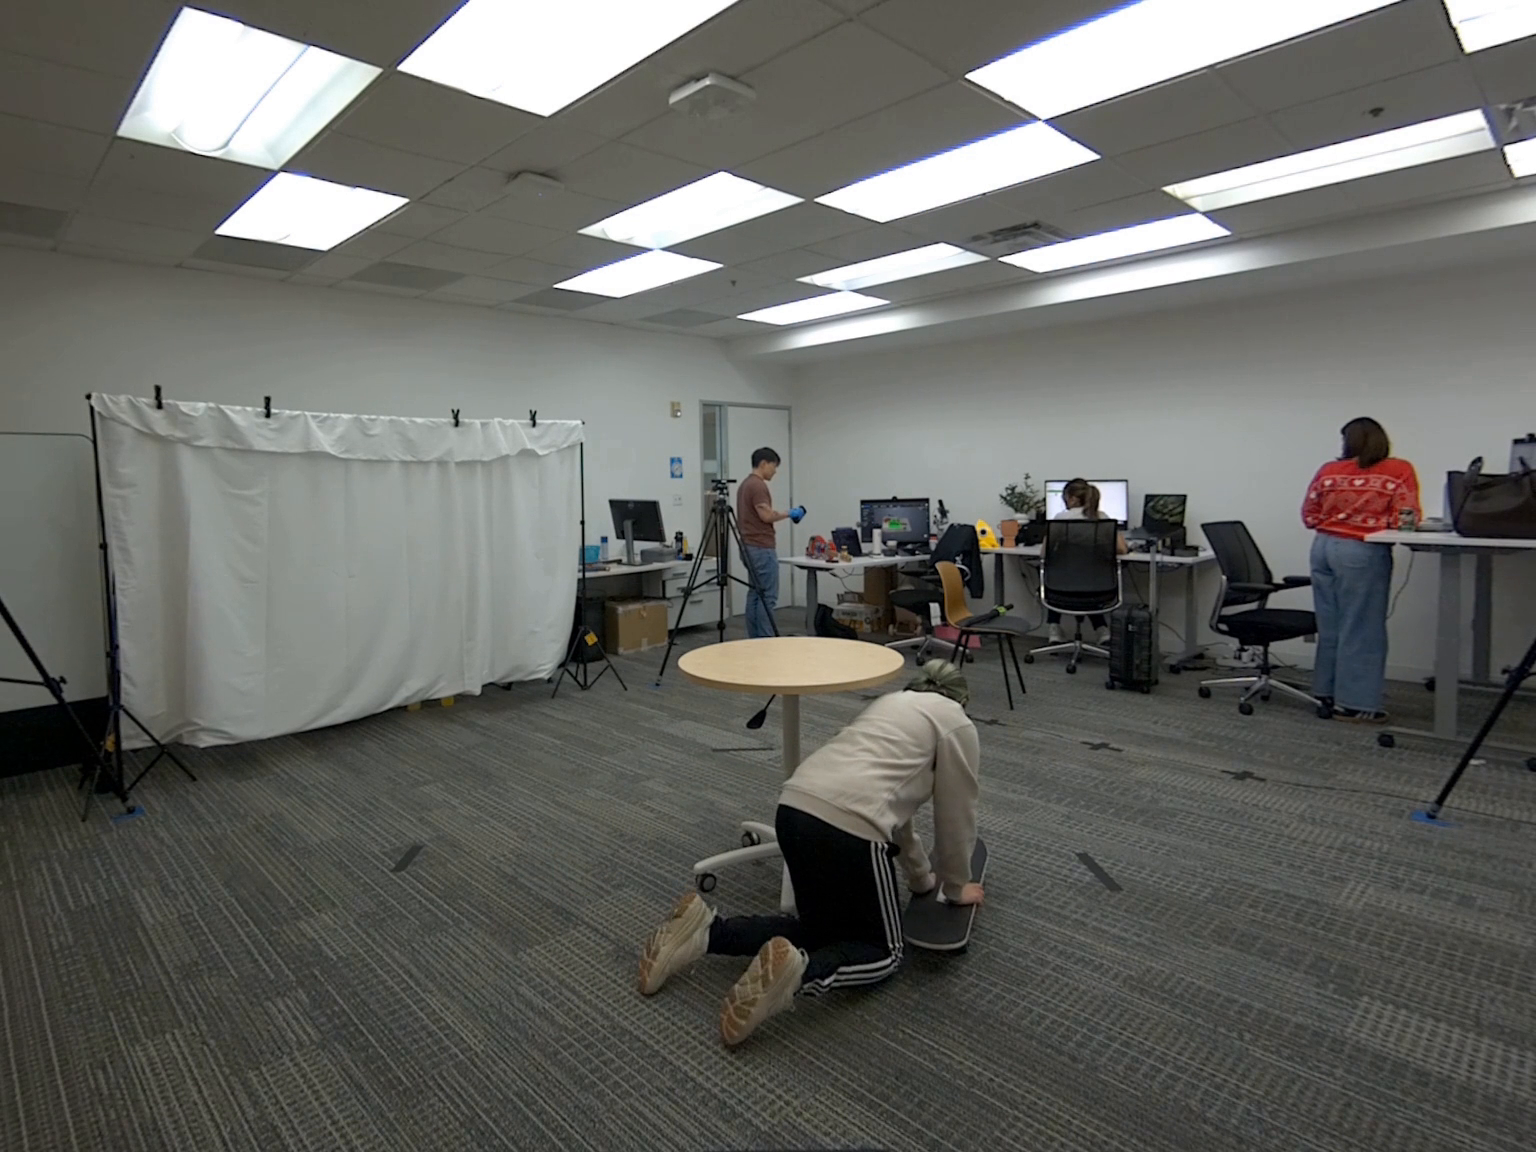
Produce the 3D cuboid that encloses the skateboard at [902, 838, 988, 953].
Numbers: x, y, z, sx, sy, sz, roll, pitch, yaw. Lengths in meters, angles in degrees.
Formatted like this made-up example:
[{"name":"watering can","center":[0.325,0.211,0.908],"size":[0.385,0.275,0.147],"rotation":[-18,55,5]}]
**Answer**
[{"name":"skateboard","center":[0.572,1.016,2.732],"size":[0.197,0.110,0.774],"rotation":[0,7,20]}]
